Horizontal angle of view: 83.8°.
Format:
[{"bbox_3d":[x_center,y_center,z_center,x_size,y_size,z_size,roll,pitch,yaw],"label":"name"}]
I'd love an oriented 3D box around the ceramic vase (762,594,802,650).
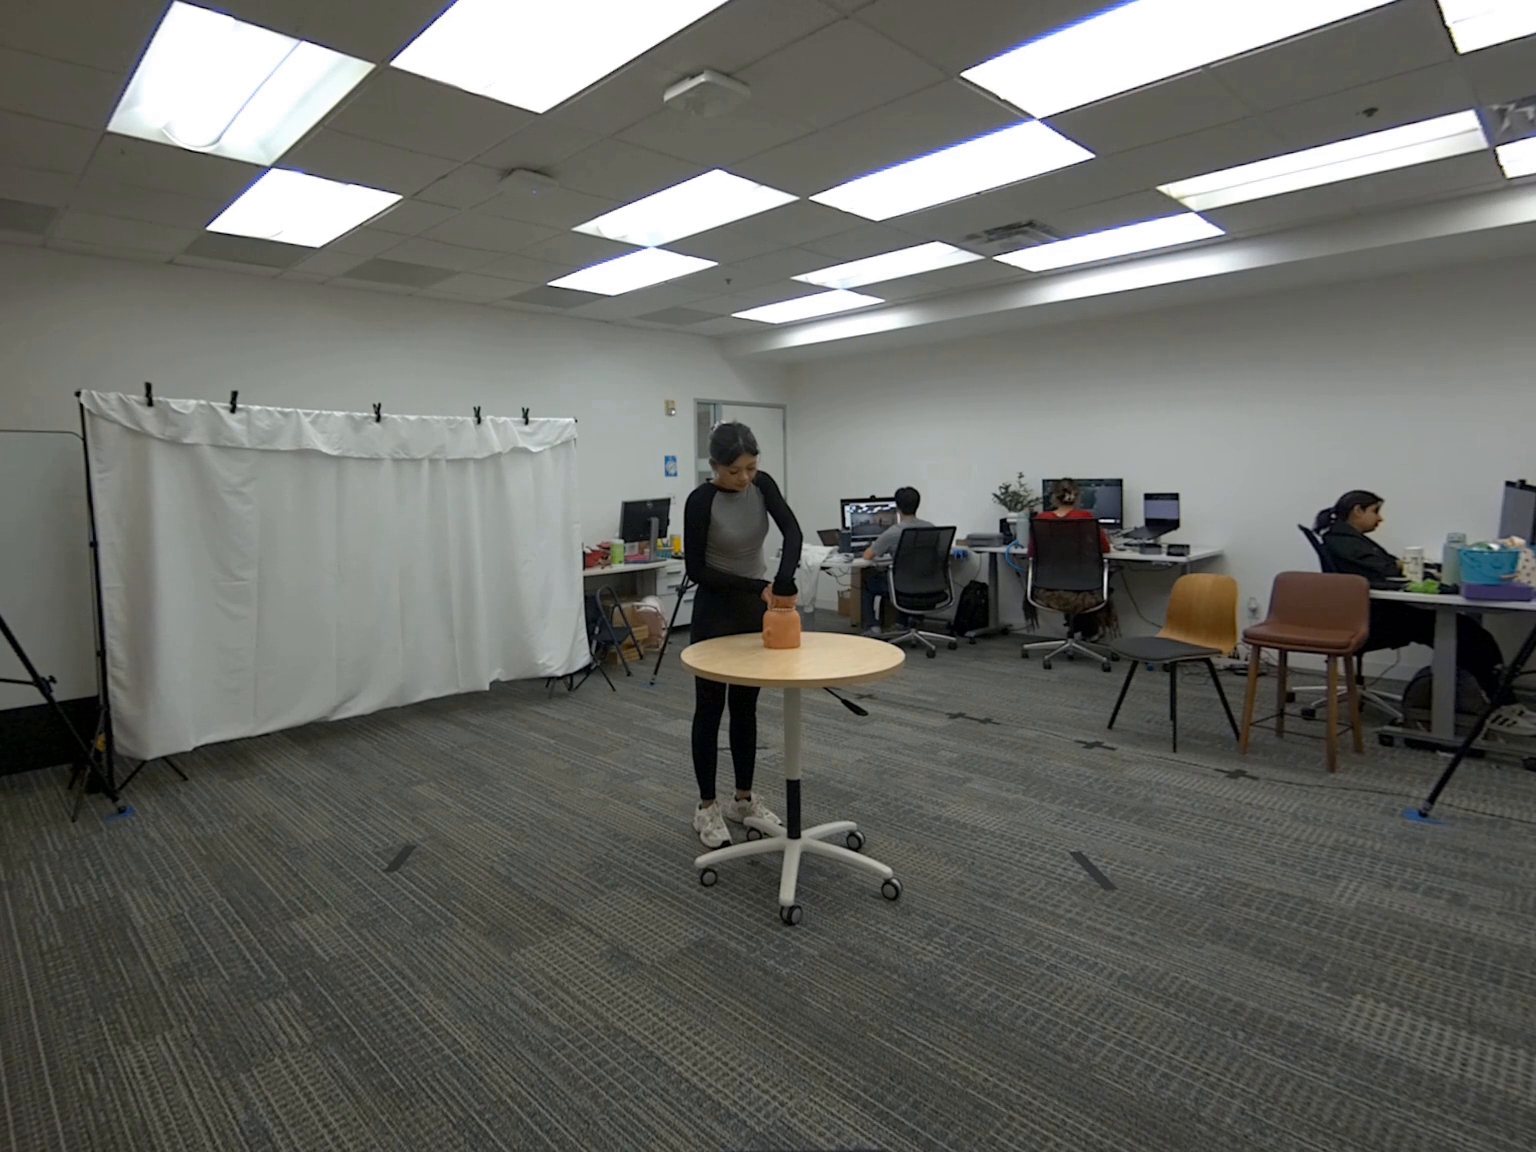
[{"bbox_3d":[0.050,0.142,3.066,0.135,0.218,0.159,0,7,4],"label":"ceramic vase"}]
